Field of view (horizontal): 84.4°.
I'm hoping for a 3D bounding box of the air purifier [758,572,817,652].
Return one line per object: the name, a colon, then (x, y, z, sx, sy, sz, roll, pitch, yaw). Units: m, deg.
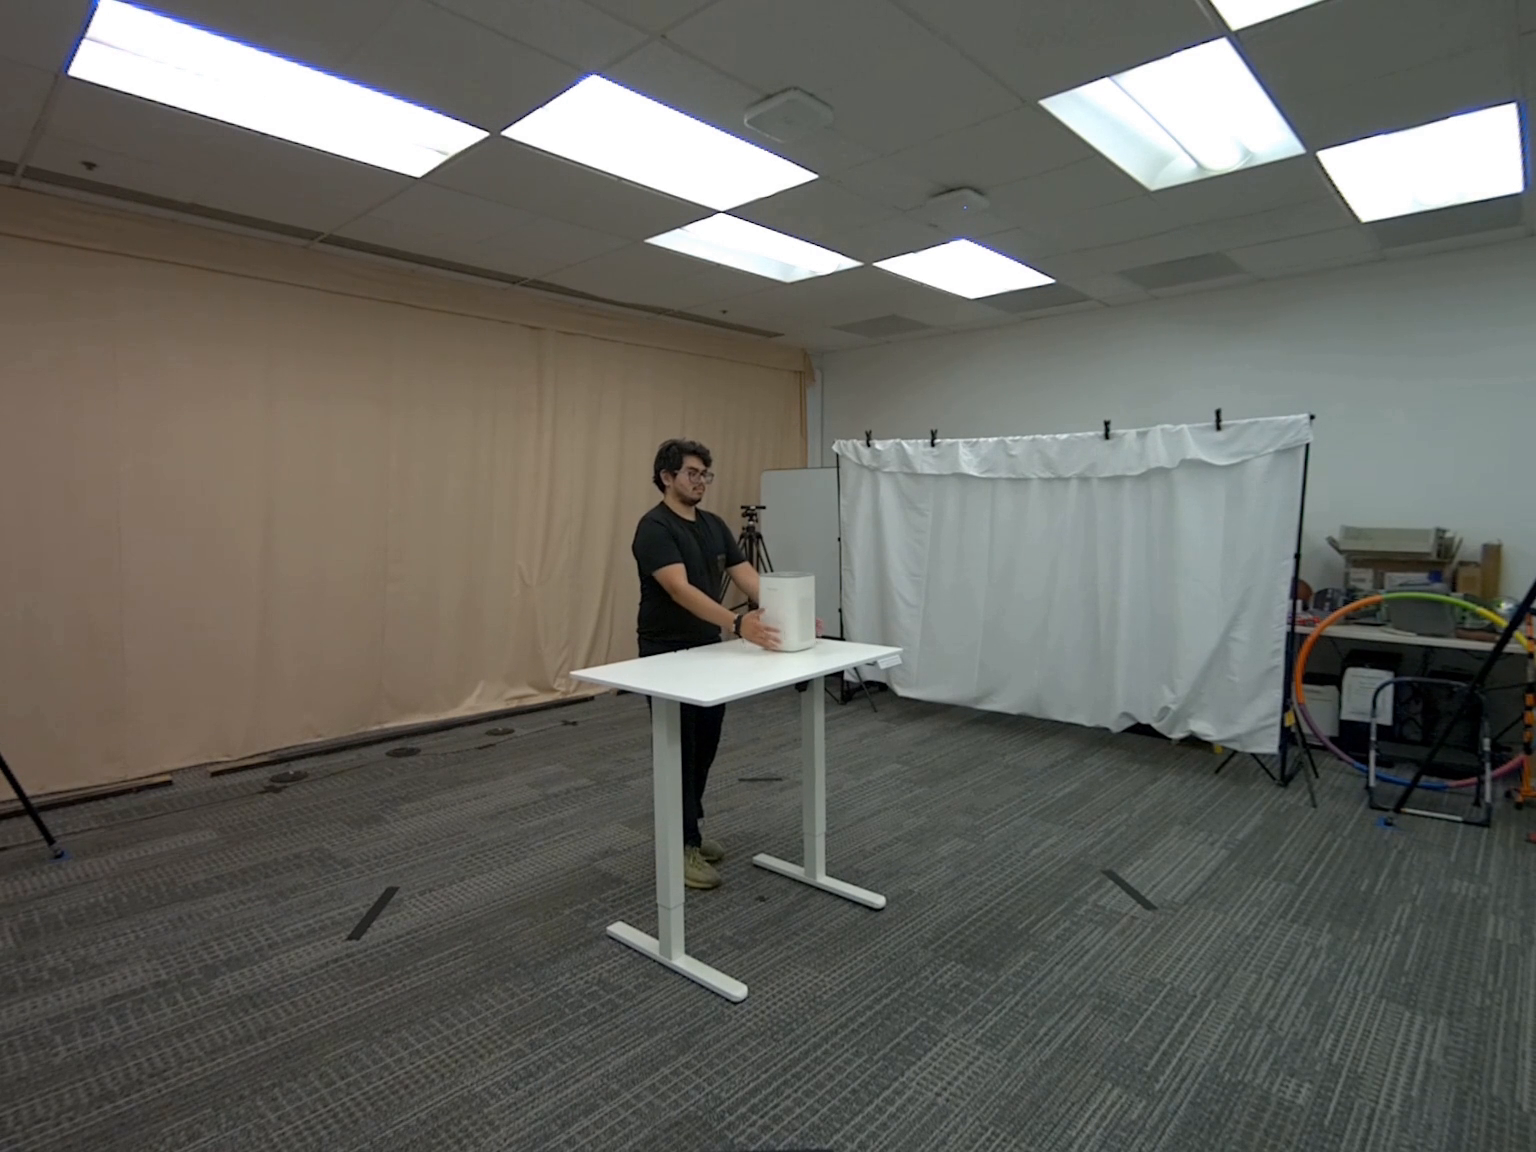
air purifier: (0.070, 0.126, 2.978, 0.176, 0.265, 0.166, 2, 4, 38)
